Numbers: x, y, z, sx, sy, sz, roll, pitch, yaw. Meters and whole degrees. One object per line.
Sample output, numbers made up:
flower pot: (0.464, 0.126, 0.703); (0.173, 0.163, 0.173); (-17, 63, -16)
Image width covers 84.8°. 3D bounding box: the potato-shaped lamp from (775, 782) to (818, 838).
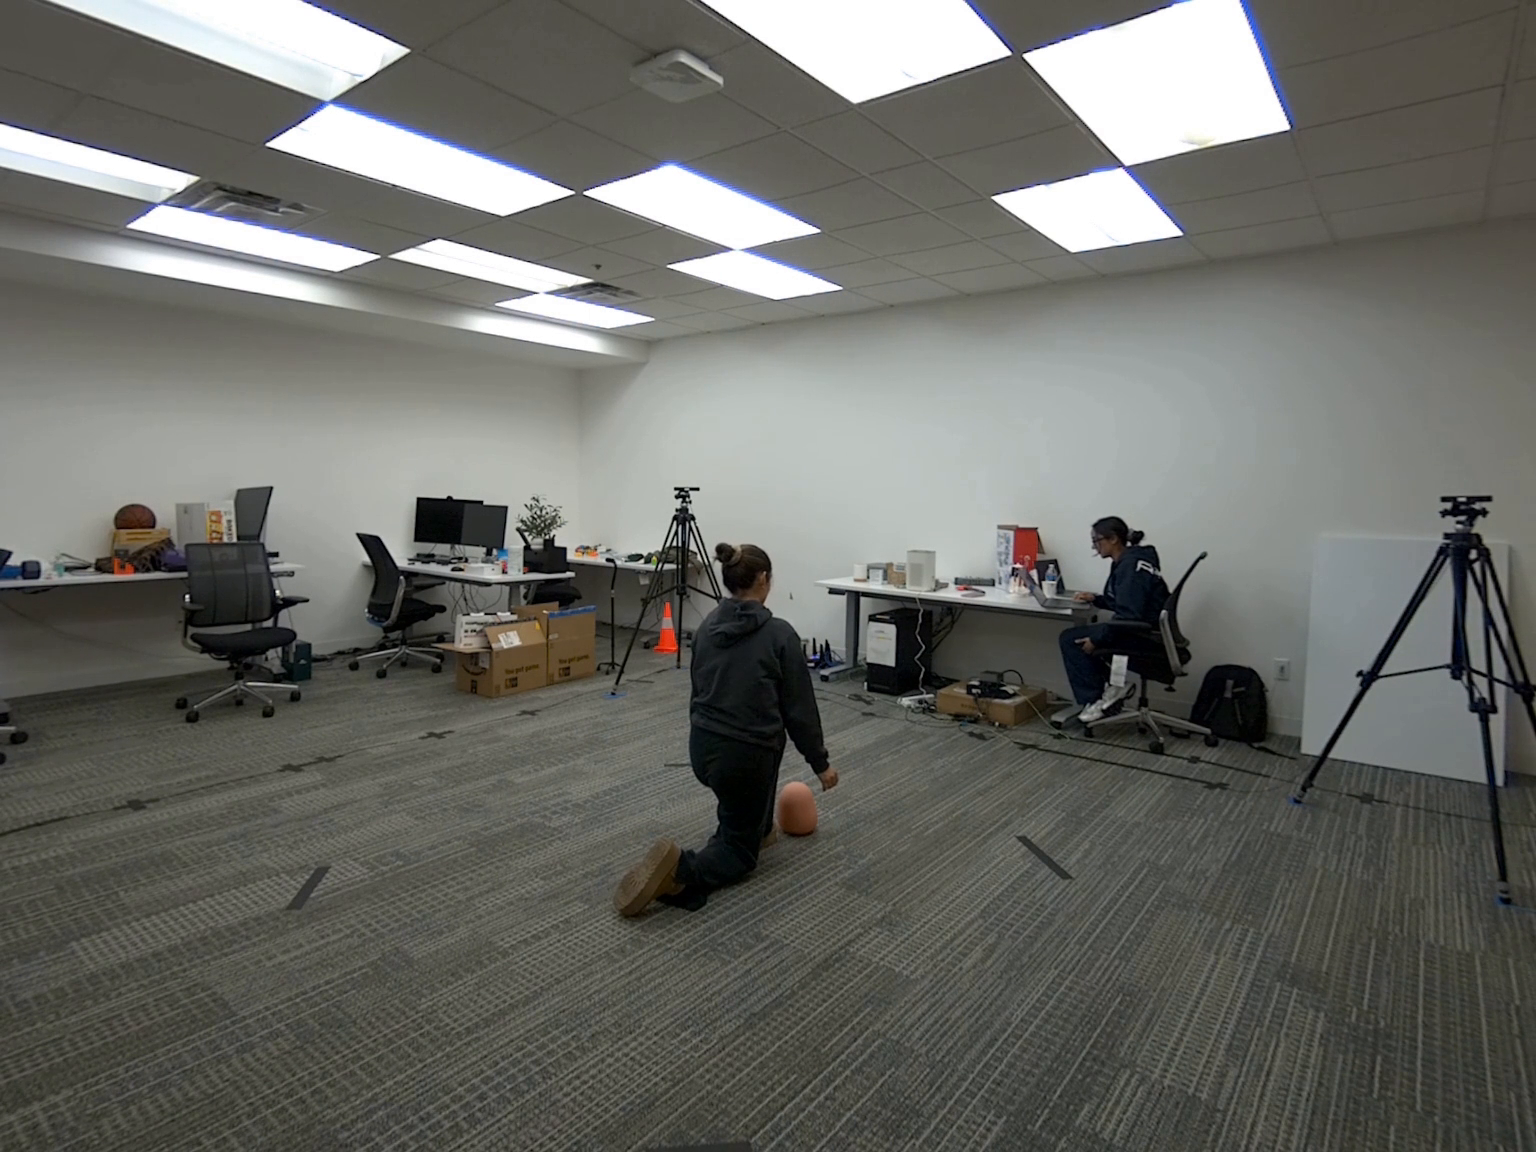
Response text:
potato-shaped lamp: (0.116, 0.934, 3.470); (0.170, 0.197, 0.167); (3, 7, 33)
